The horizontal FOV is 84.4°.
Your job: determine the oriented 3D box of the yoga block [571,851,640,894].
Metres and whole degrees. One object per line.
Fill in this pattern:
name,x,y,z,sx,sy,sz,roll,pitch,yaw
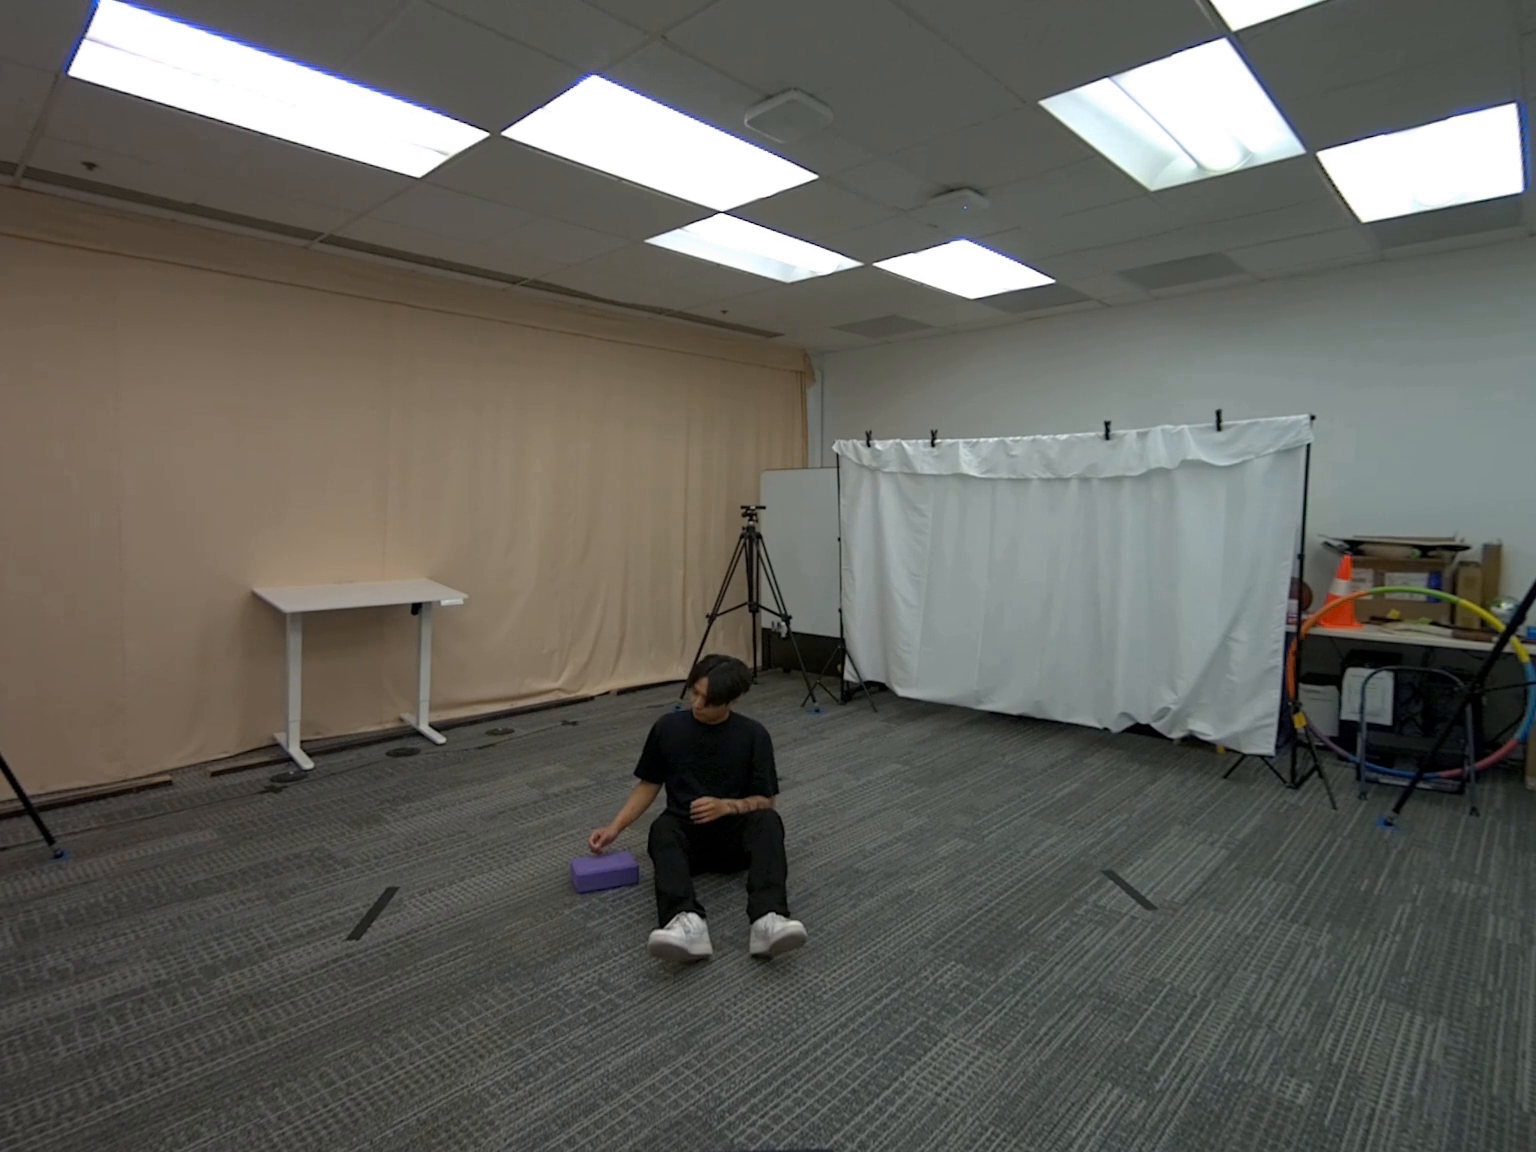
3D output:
yoga block,-0.608,1.098,3.134,0.225,0.076,0.152,-3,6,-21
